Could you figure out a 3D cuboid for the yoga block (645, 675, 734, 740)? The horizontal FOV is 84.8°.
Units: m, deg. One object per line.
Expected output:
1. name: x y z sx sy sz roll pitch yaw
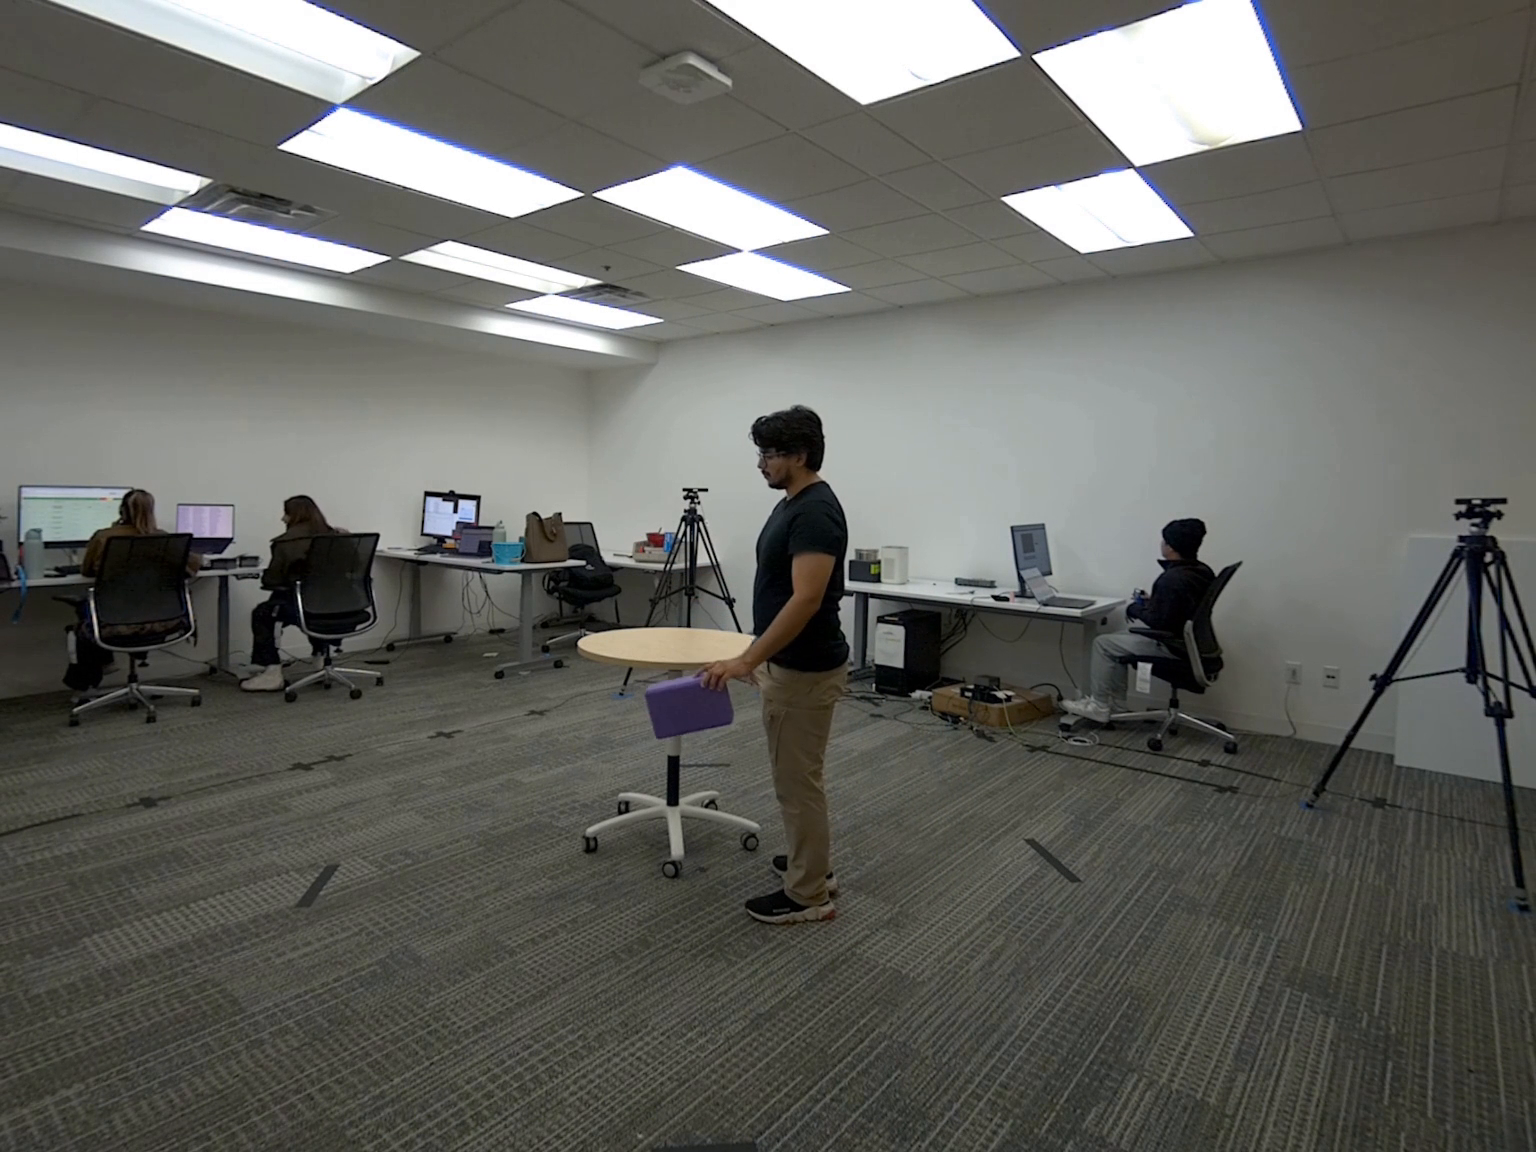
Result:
1. yoga block: -0.233 0.367 2.444 0.229 0.148 0.077 -11 6 1
